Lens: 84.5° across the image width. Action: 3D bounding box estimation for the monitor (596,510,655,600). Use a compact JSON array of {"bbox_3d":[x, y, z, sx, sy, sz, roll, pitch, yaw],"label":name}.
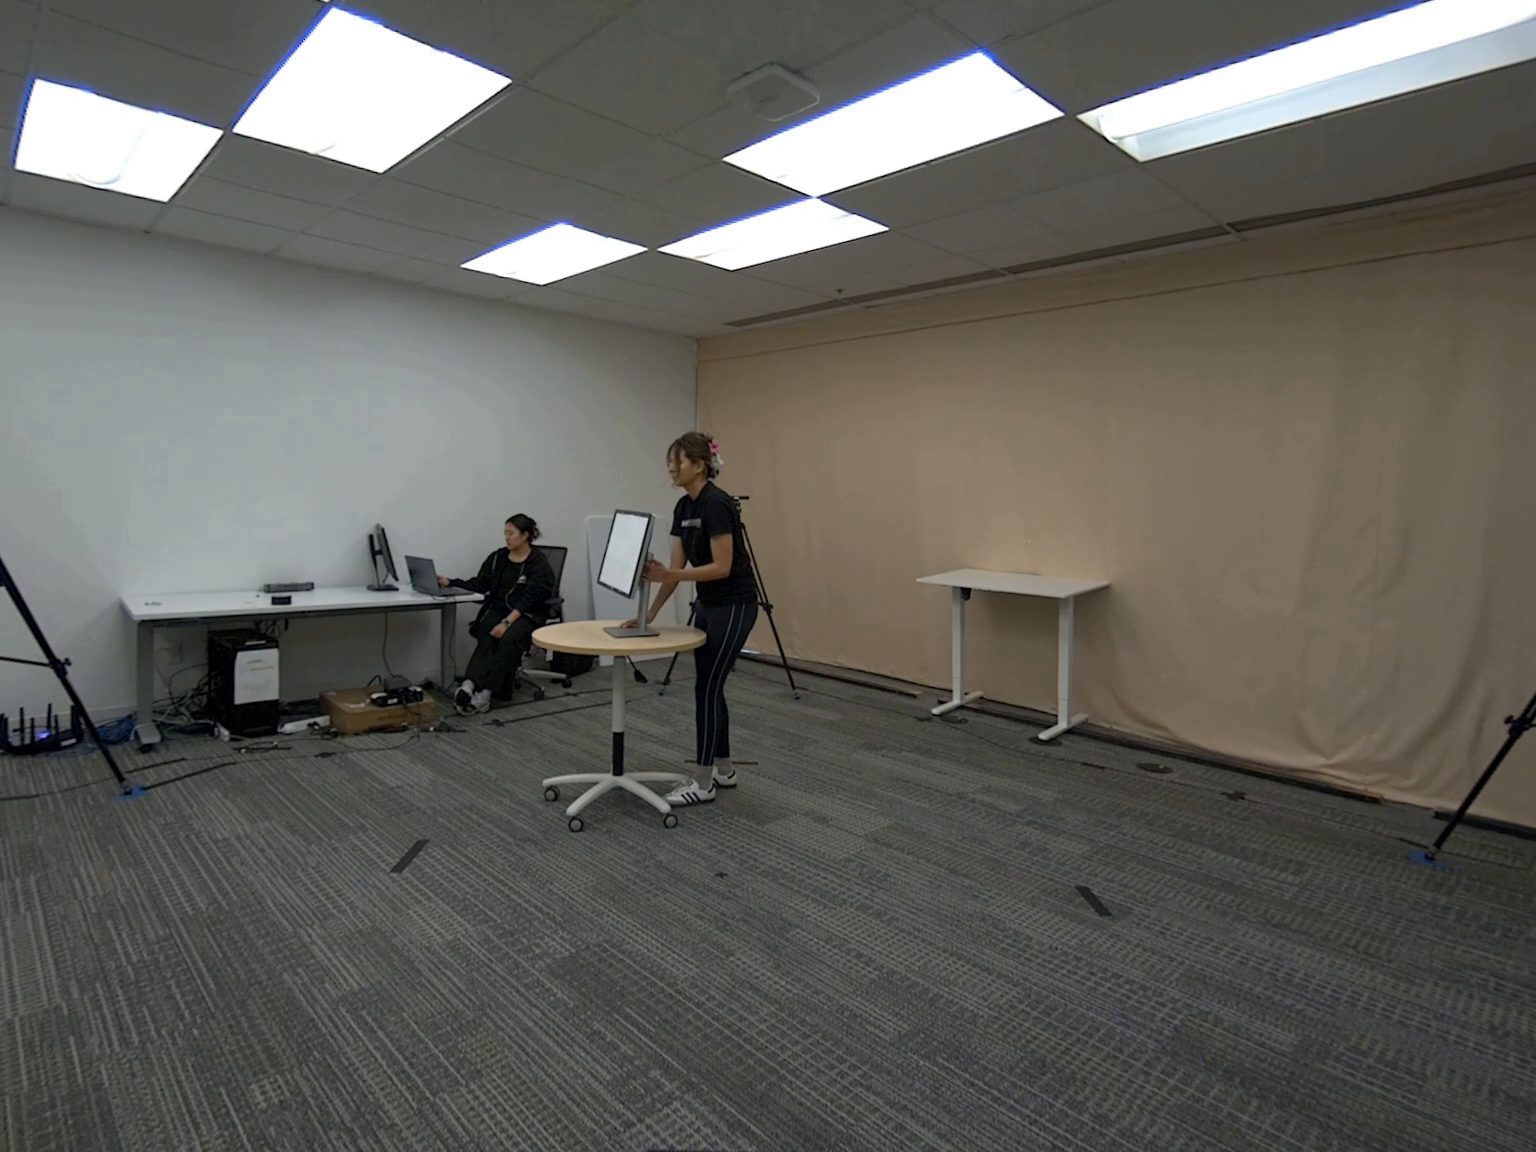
[{"bbox_3d":[-0.605,-0.013,3.745,0.184,0.521,0.550,0,5,-26],"label":"monitor"}]
